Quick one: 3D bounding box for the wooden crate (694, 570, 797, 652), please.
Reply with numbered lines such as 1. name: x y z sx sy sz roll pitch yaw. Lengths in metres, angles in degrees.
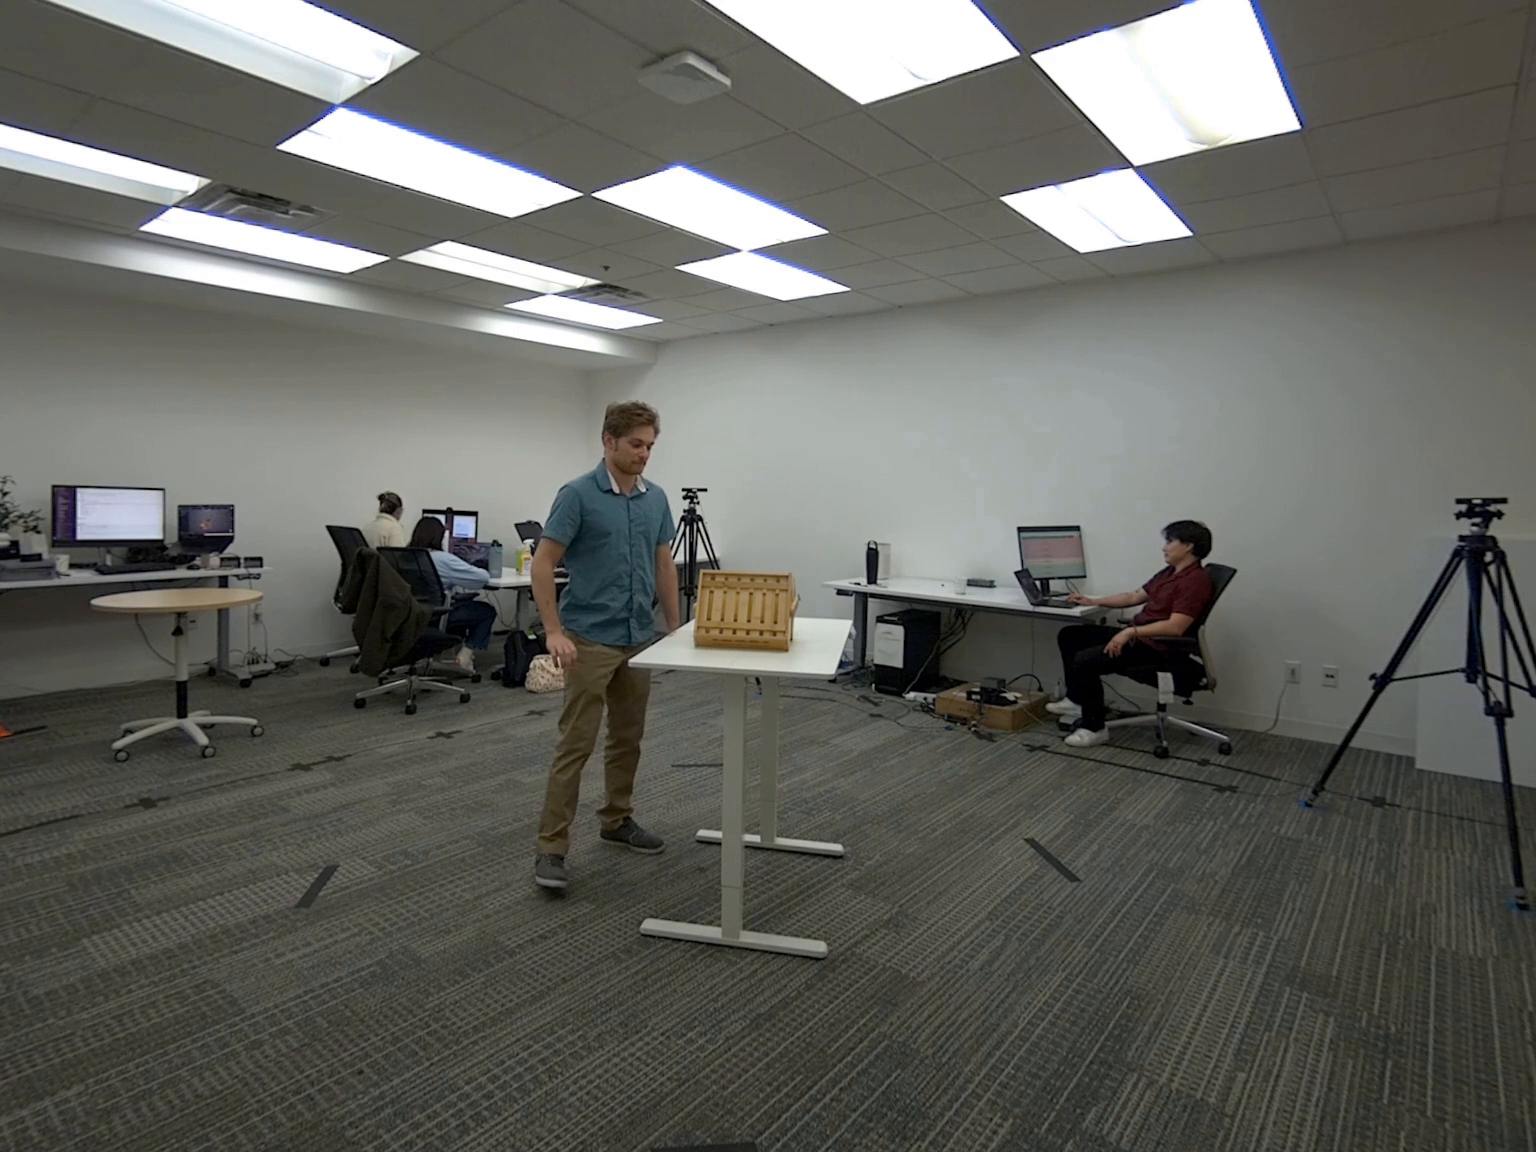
1. wooden crate: -0.075 0.126 2.847 0.327 0.308 0.266 2 -22 7
